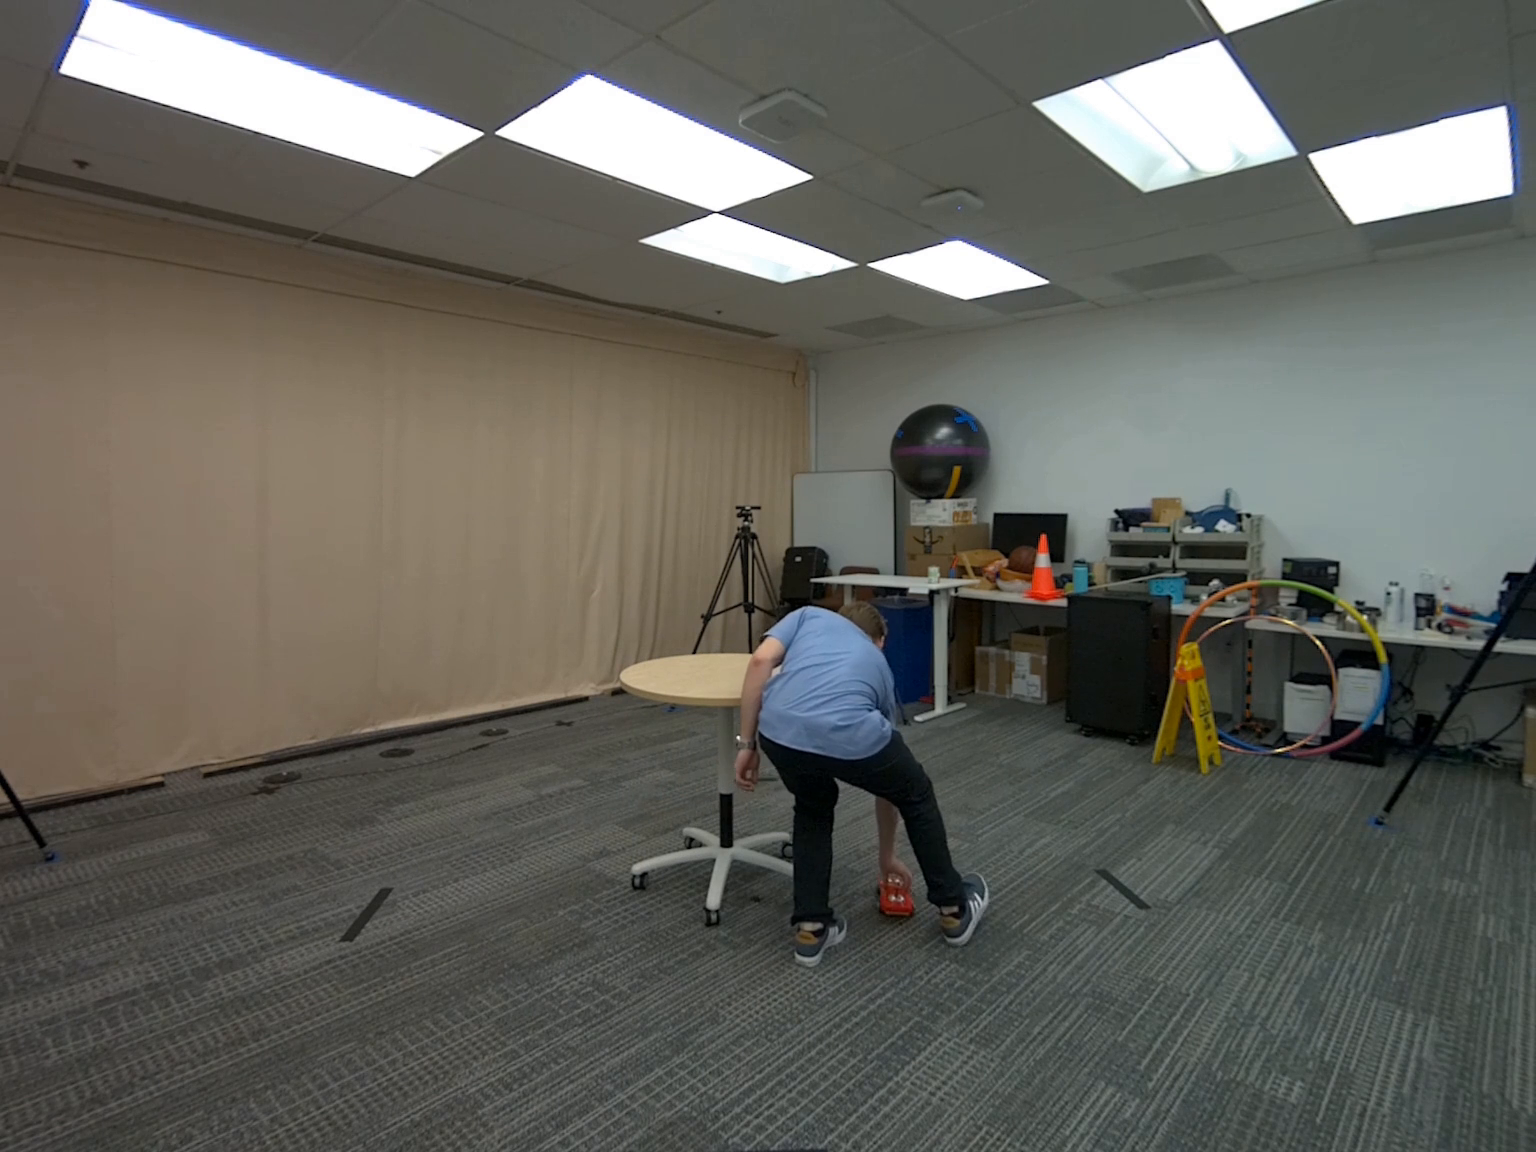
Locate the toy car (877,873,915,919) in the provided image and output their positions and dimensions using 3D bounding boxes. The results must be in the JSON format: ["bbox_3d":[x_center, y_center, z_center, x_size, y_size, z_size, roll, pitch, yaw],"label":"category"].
[{"bbox_3d":[0.449,1.119,2.920,0.131,0.083,0.251,0,-6,5],"label":"toy car"}]
